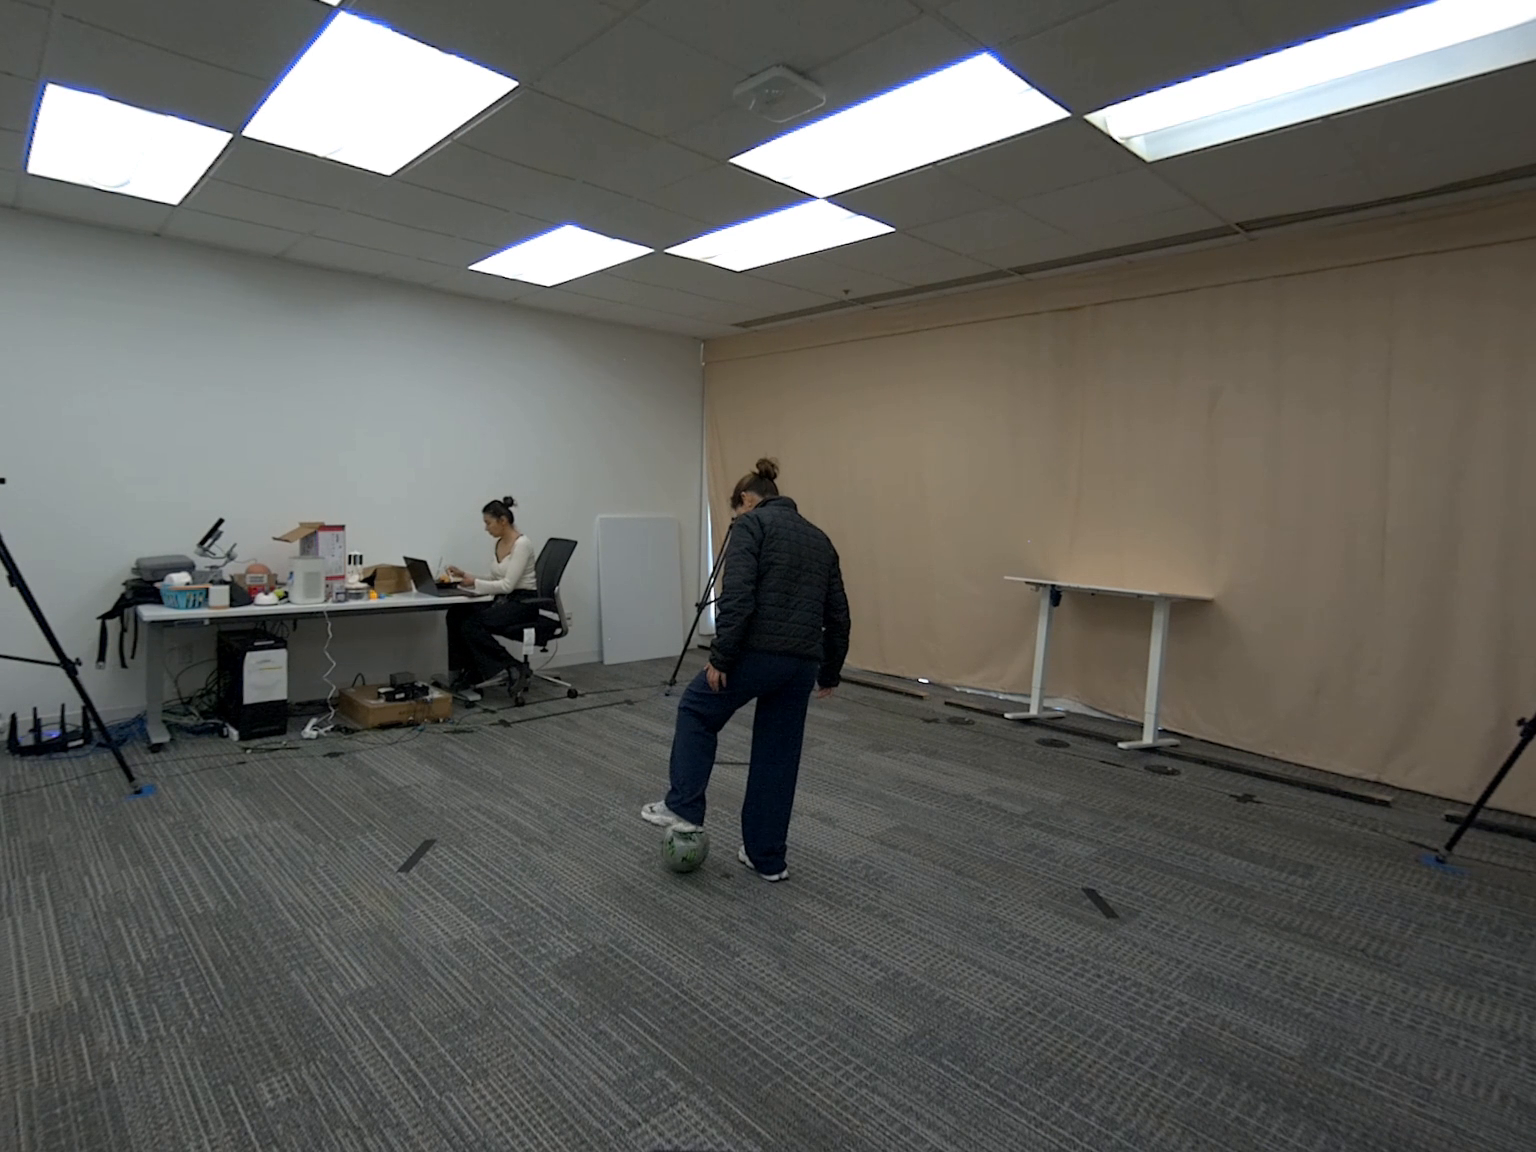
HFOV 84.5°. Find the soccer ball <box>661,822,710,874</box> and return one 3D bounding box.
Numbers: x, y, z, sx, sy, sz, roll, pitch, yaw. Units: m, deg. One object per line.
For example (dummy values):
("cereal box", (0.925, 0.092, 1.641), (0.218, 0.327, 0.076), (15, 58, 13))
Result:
("soccer ball", (-0.312, 0.997, 3.145), (0.187, 0.187, 0.188), (1, 4, -1))
